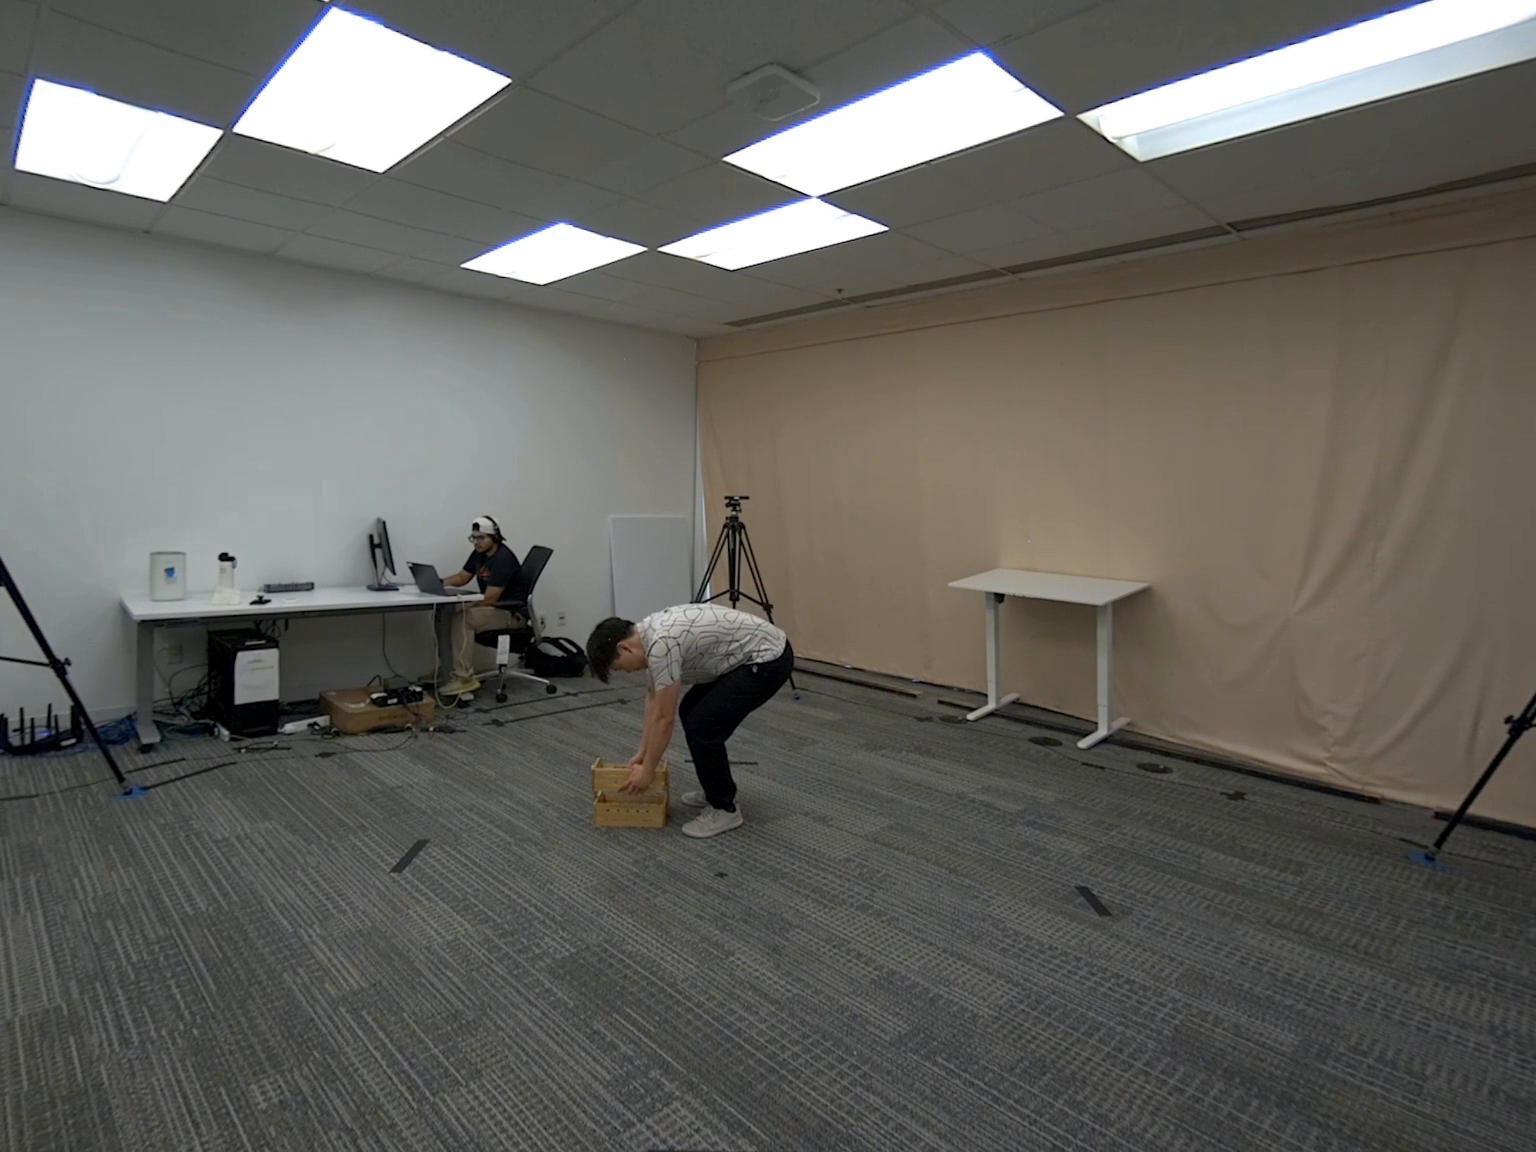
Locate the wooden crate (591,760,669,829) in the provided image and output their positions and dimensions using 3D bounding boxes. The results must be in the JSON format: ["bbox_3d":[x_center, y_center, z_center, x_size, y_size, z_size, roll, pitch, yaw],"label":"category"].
[{"bbox_3d":[-0.592,0.912,3.636,0.324,0.272,0.303,1,4,-2],"label":"wooden crate"}]
